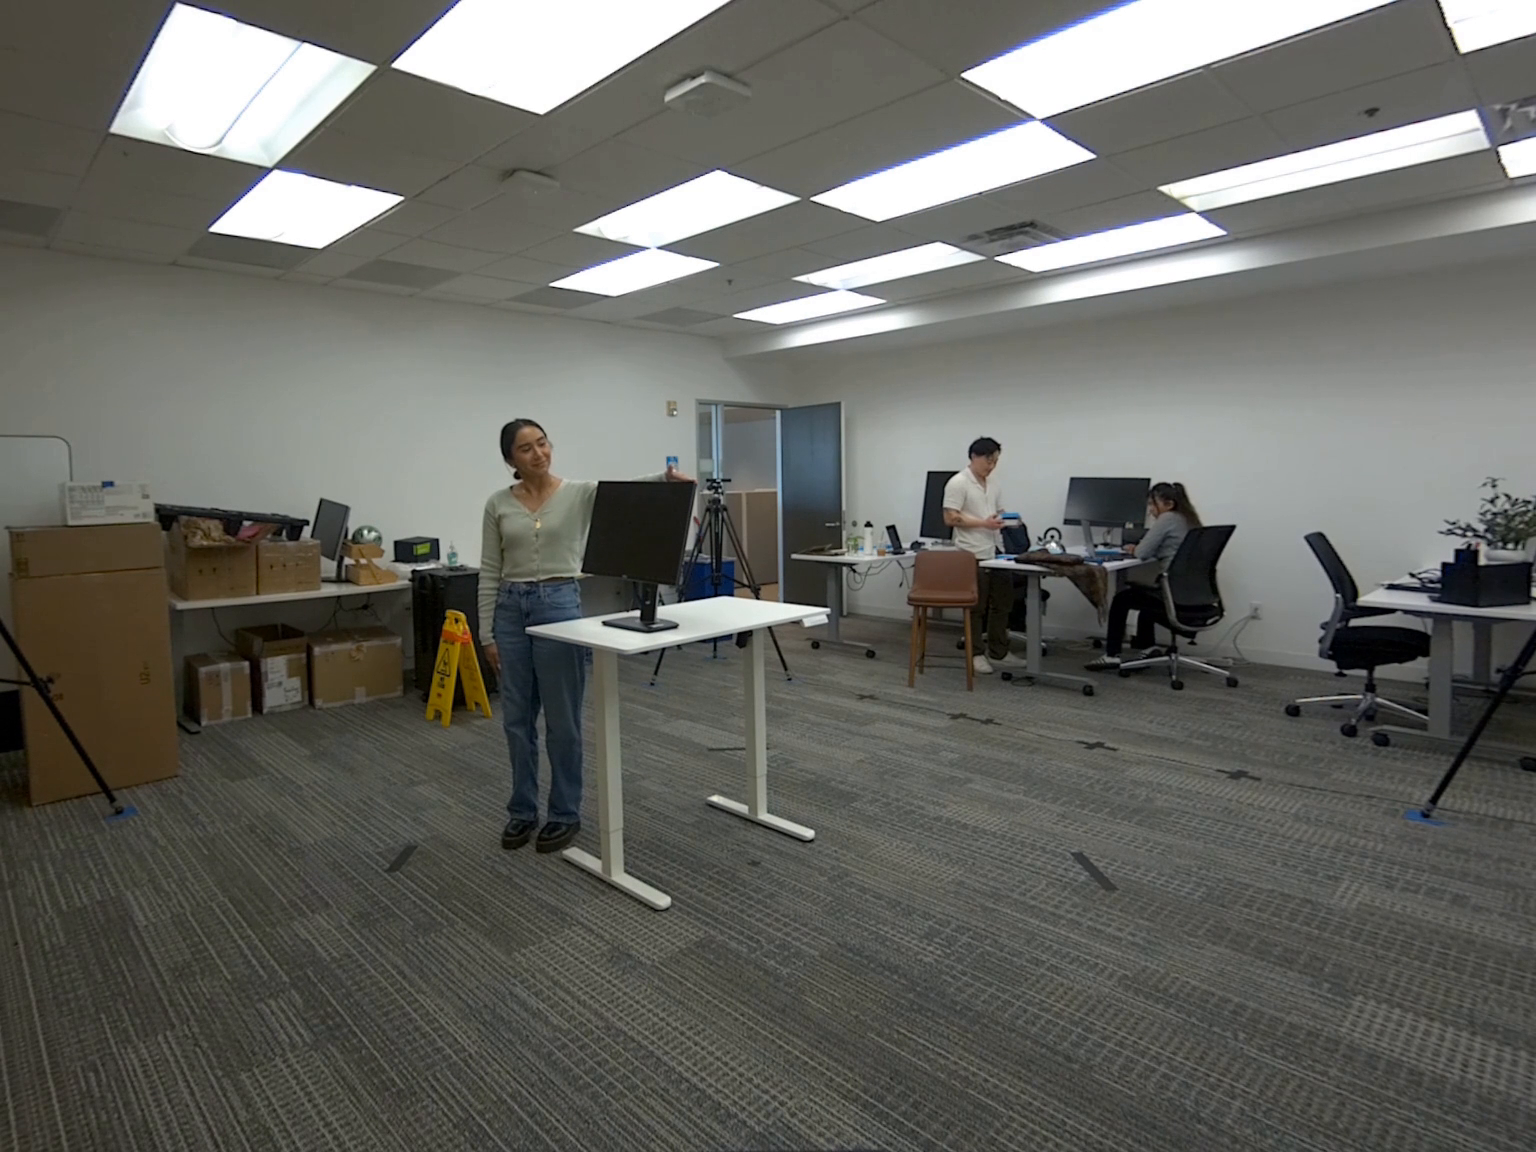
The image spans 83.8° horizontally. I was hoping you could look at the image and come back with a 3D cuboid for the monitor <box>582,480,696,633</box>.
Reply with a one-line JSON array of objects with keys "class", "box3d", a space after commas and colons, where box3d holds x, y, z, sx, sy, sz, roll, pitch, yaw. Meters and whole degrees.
[{"class": "monitor", "box3d": [-0.446, -0.073, 3.032, 0.555, 0.522, 0.182, 3, 3, 41]}]
